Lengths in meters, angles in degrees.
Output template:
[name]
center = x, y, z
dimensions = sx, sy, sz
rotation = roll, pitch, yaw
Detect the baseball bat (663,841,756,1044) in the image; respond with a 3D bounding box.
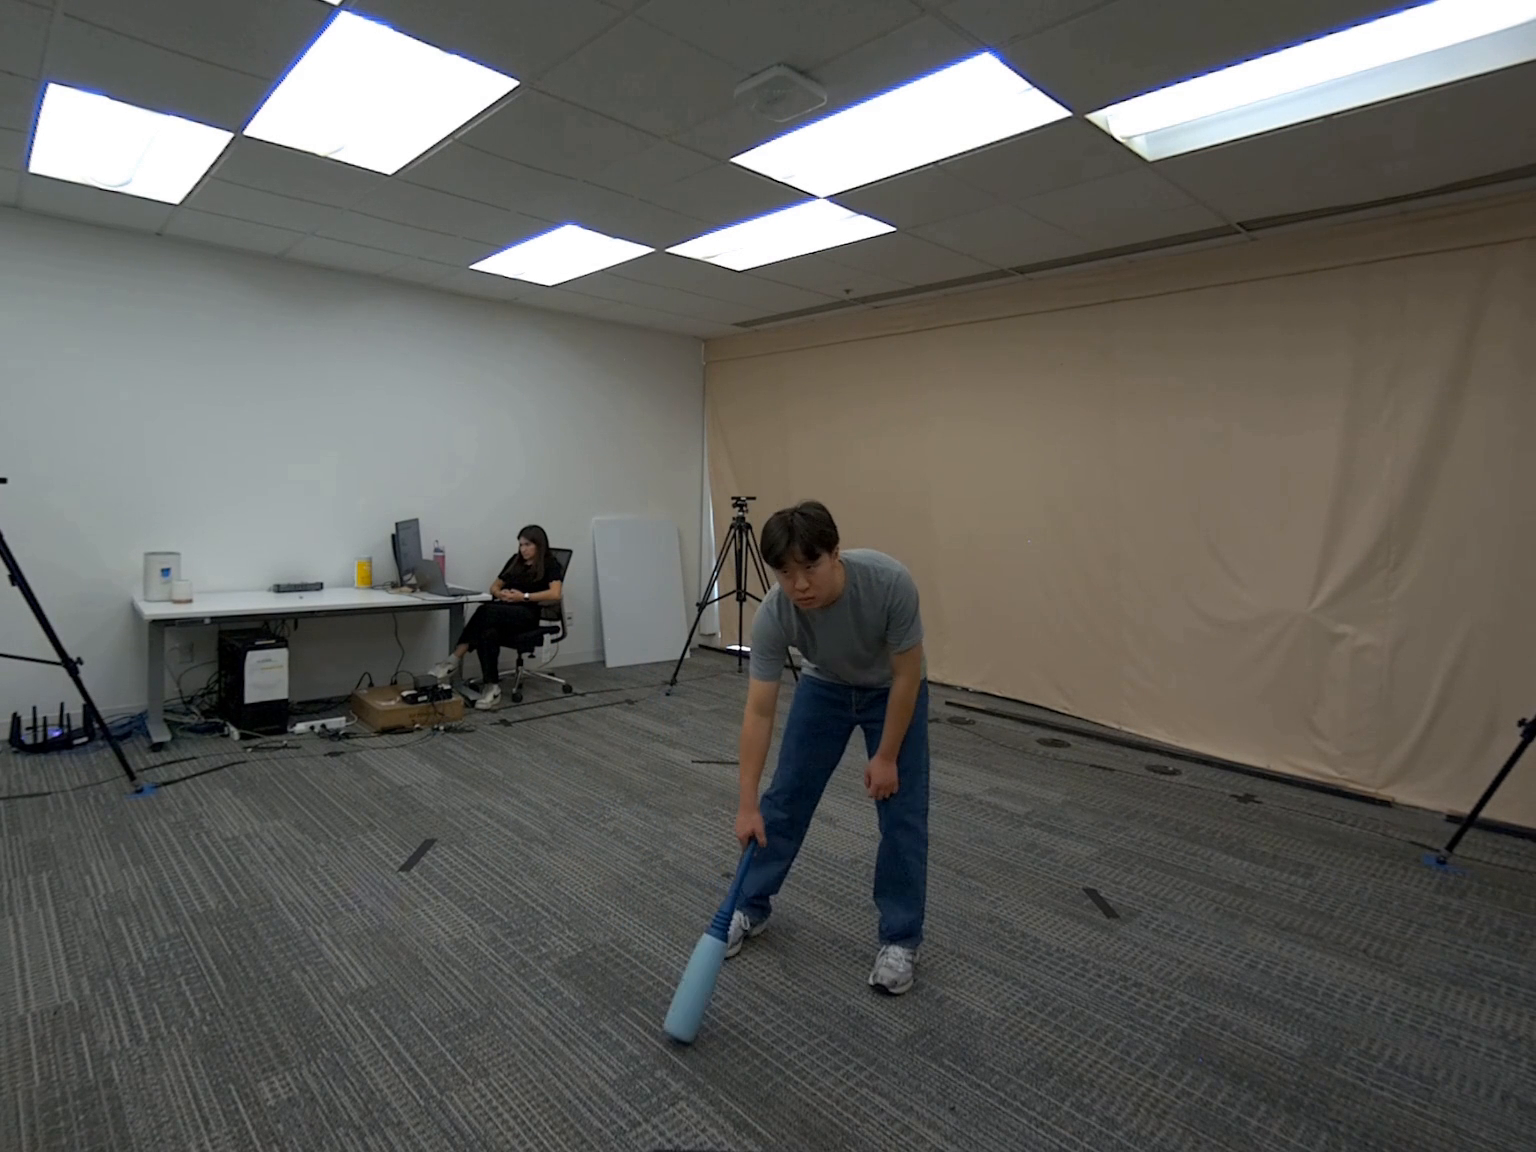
[baseball bat]
center = -0.139, 0.953, 2.253
dimensions = 0.090, 0.546, 0.088
rotation = 22, -22, 8
